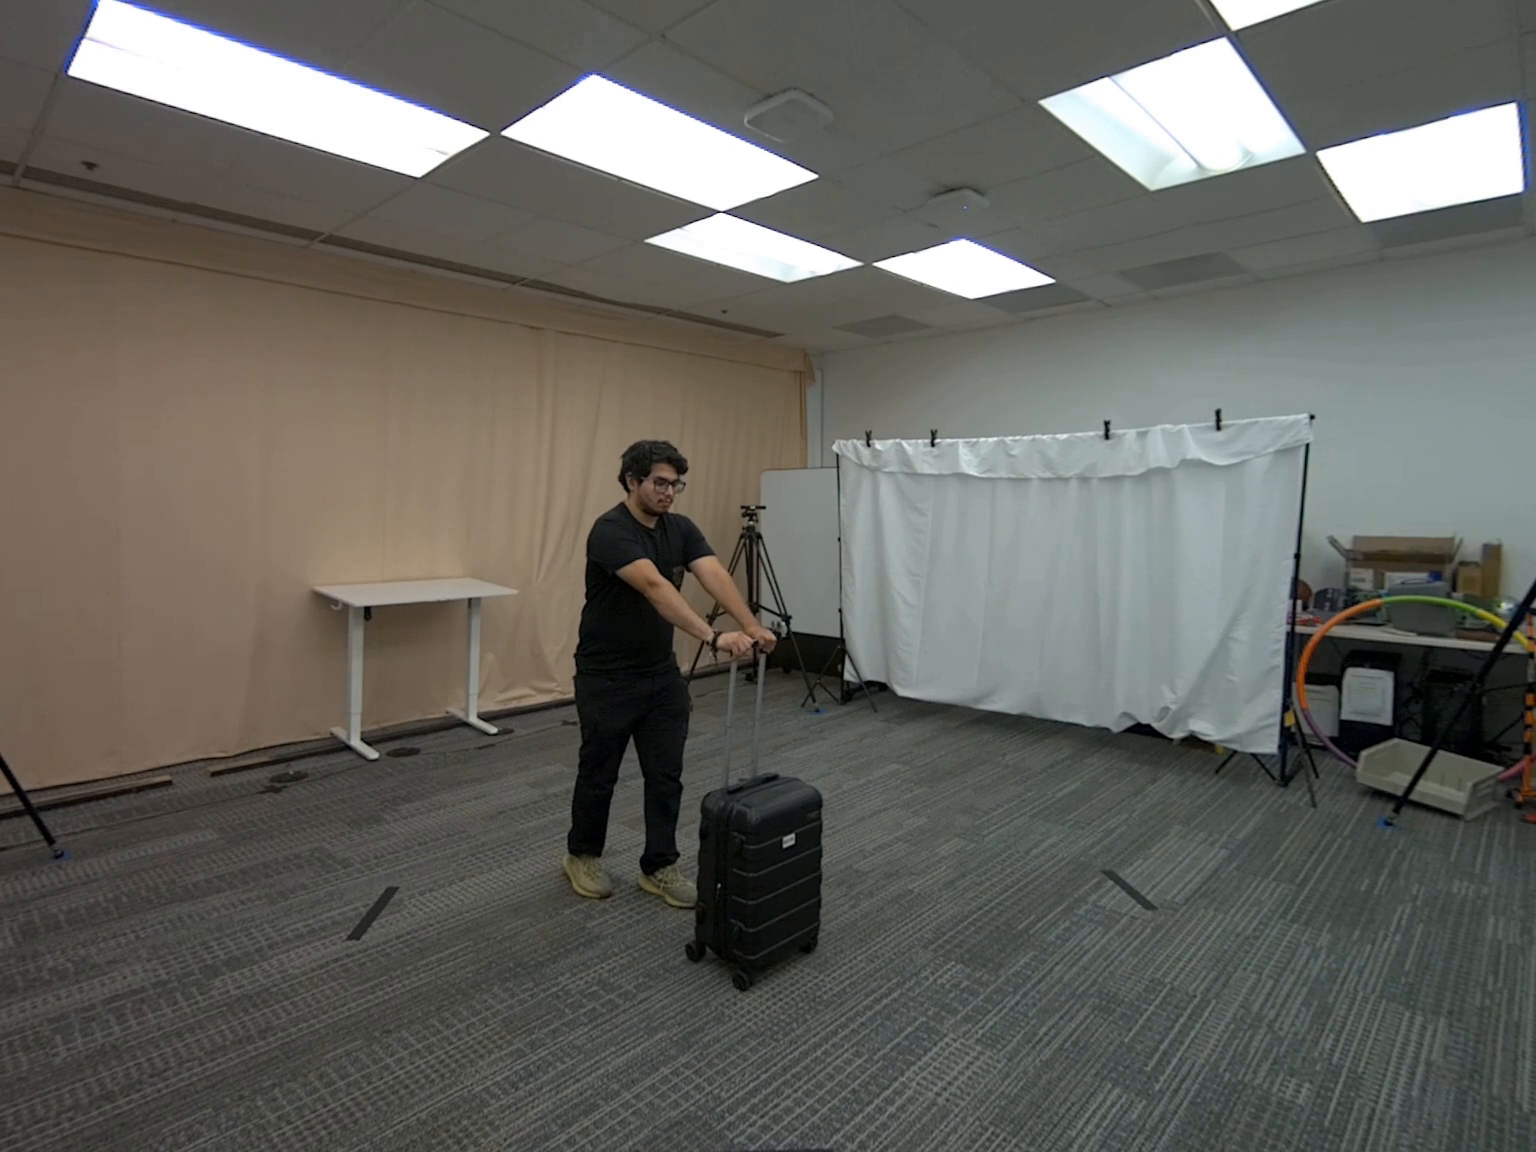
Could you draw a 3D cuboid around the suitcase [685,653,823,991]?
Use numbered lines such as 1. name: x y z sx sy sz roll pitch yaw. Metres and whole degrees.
1. suitcase: -0.003 0.705 2.562 0.266 0.975 0.372 10 8 43
